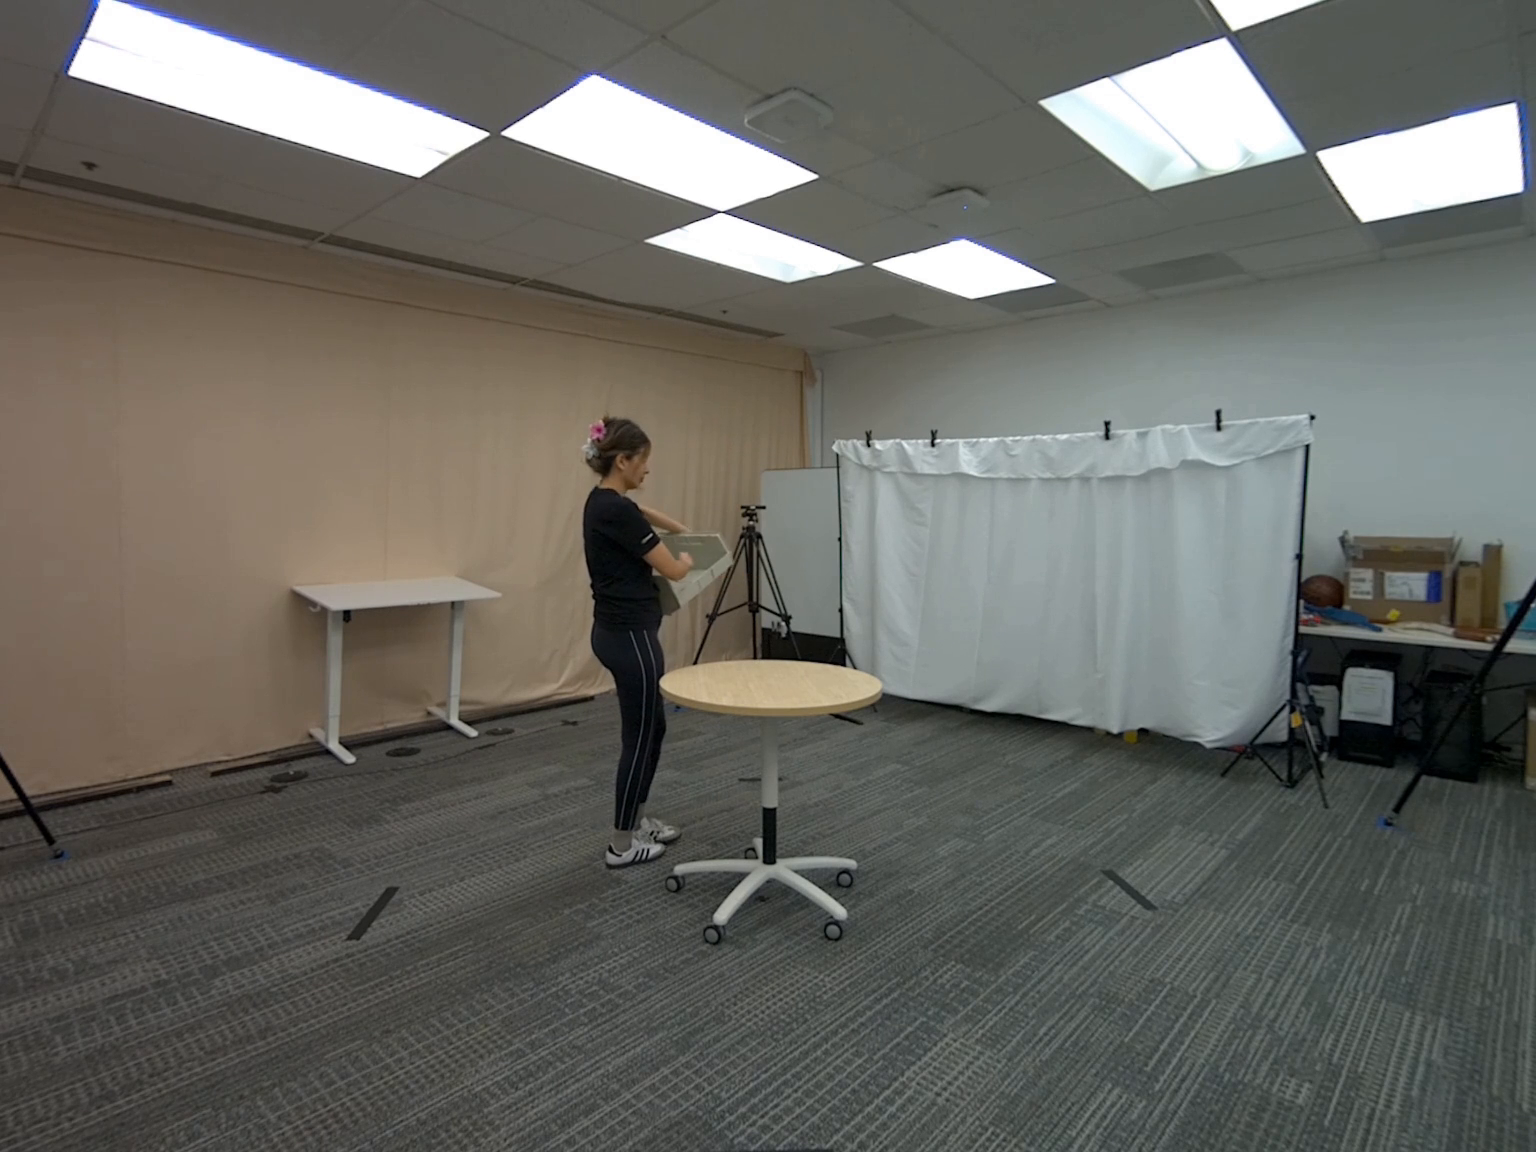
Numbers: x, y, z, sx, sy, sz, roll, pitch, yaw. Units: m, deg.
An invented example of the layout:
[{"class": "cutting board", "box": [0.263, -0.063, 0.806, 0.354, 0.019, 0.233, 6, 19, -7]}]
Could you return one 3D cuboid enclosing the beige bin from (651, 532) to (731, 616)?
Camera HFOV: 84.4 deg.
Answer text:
[{"class": "beige bin", "box": [-0.414, -0.012, 3.509, 0.389, 0.186, 0.417, 0, 26, 33]}]
